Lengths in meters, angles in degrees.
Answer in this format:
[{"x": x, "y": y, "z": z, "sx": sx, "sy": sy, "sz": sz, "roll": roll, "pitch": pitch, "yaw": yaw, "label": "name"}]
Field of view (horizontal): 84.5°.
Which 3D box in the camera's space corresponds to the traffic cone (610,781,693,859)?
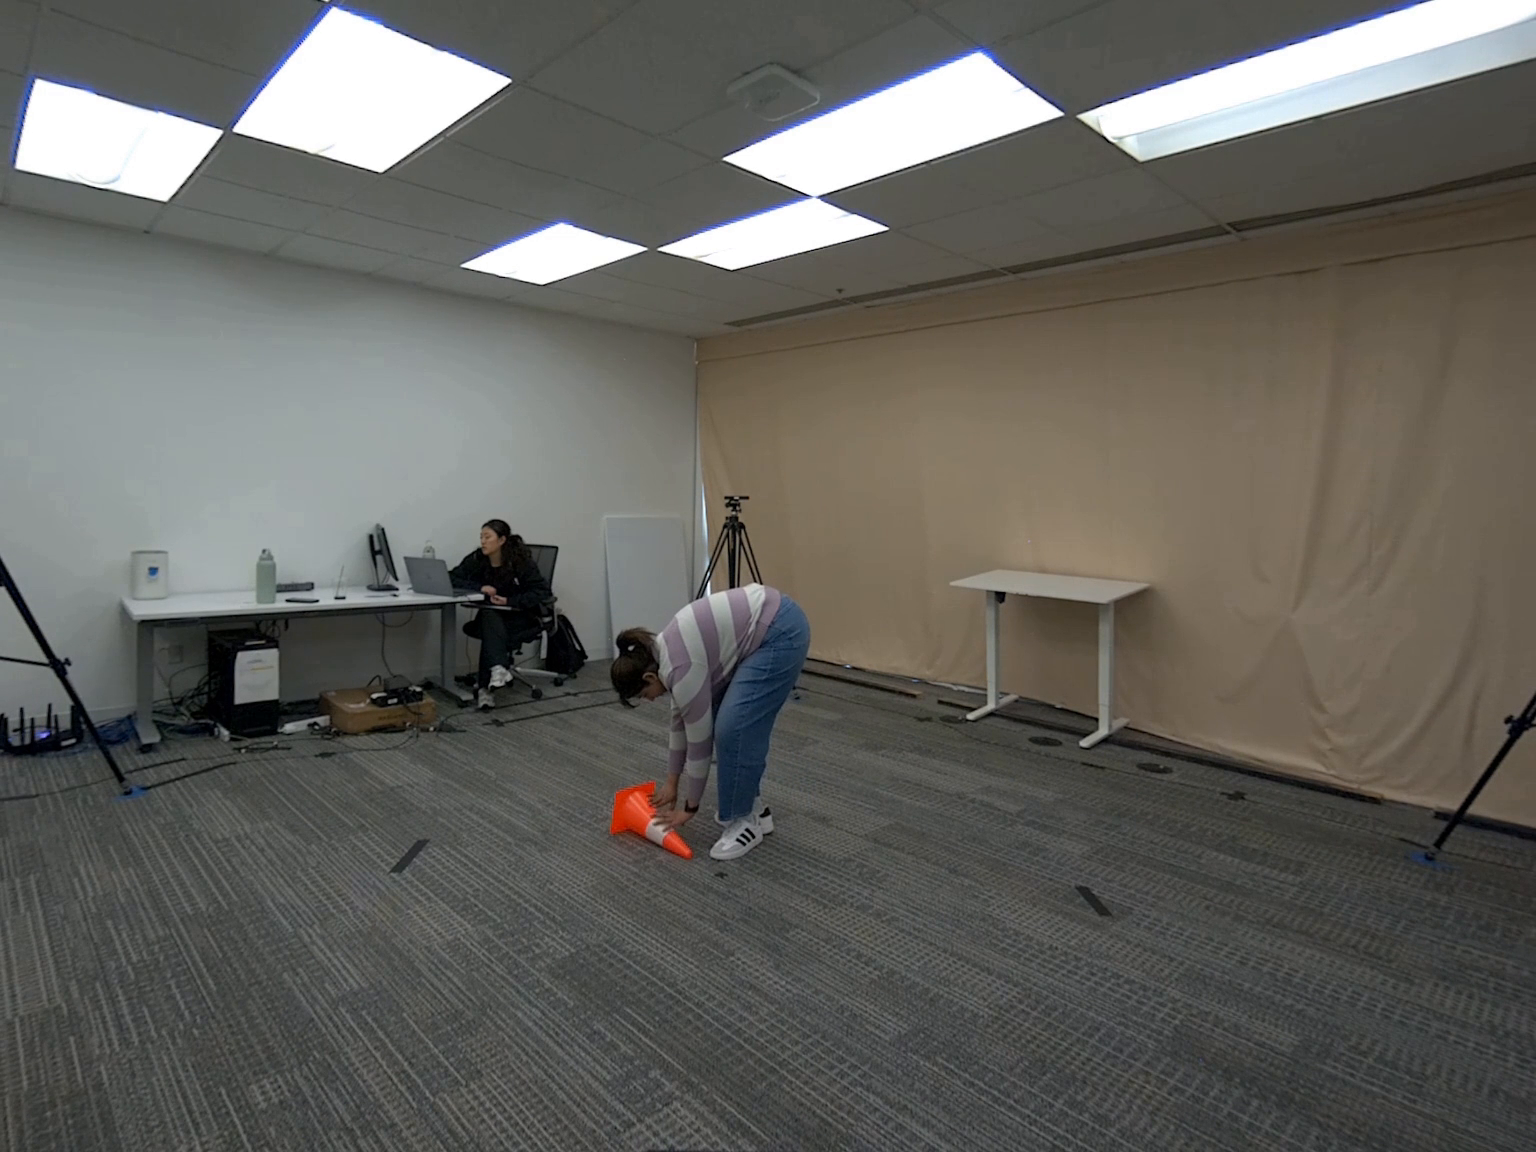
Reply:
[{"x": -0.441, "y": 1.024, "z": 3.368, "sx": 0.200, "sy": 0.201, "sz": 0.395, "roll": -5, "pitch": 22, "yaw": -45, "label": "traffic cone"}]
